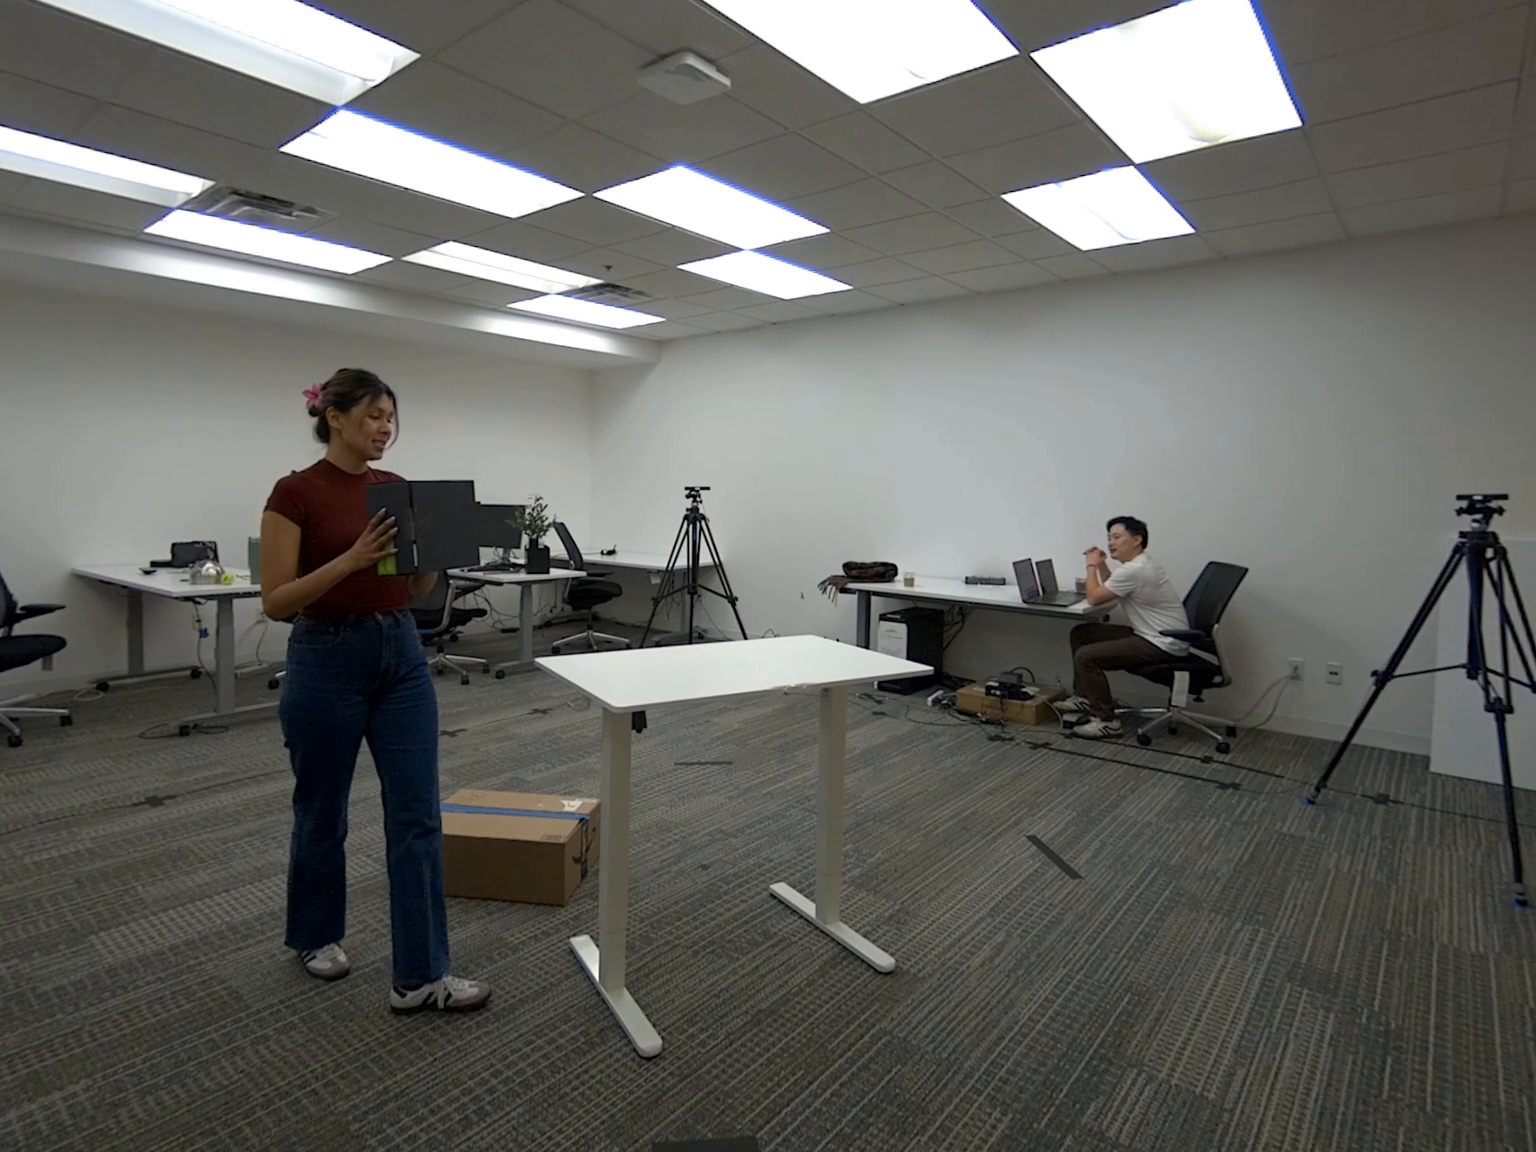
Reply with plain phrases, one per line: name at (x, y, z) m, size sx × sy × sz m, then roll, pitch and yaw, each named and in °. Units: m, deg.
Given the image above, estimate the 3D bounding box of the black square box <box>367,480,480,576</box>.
black square box at (-0.878, -0.130, 2.144) m, size 0.160 × 0.227 × 0.212 m, roll -2°, pitch 4°, yaw 28°
